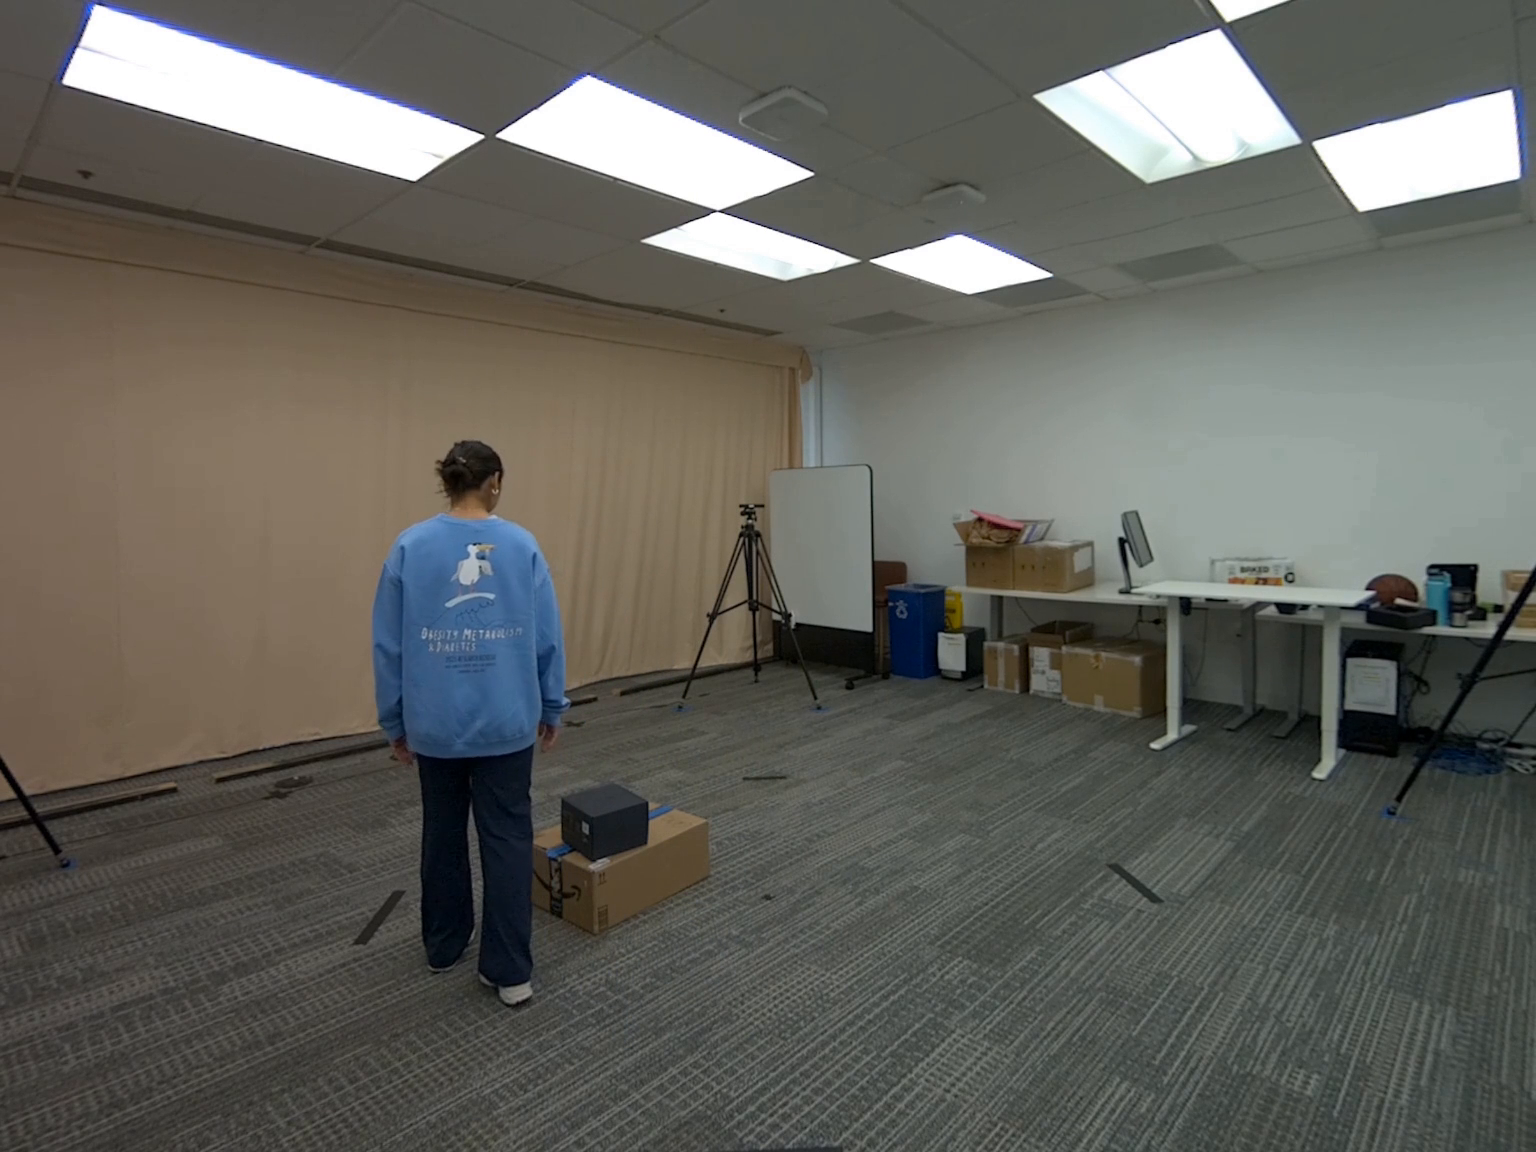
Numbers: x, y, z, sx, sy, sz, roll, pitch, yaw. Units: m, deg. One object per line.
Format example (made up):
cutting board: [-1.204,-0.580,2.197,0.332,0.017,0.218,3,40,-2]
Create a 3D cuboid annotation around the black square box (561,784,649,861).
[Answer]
black square box: [-0.570,0.853,2.943,0.221,0.155,0.224,-5,8,-41]
